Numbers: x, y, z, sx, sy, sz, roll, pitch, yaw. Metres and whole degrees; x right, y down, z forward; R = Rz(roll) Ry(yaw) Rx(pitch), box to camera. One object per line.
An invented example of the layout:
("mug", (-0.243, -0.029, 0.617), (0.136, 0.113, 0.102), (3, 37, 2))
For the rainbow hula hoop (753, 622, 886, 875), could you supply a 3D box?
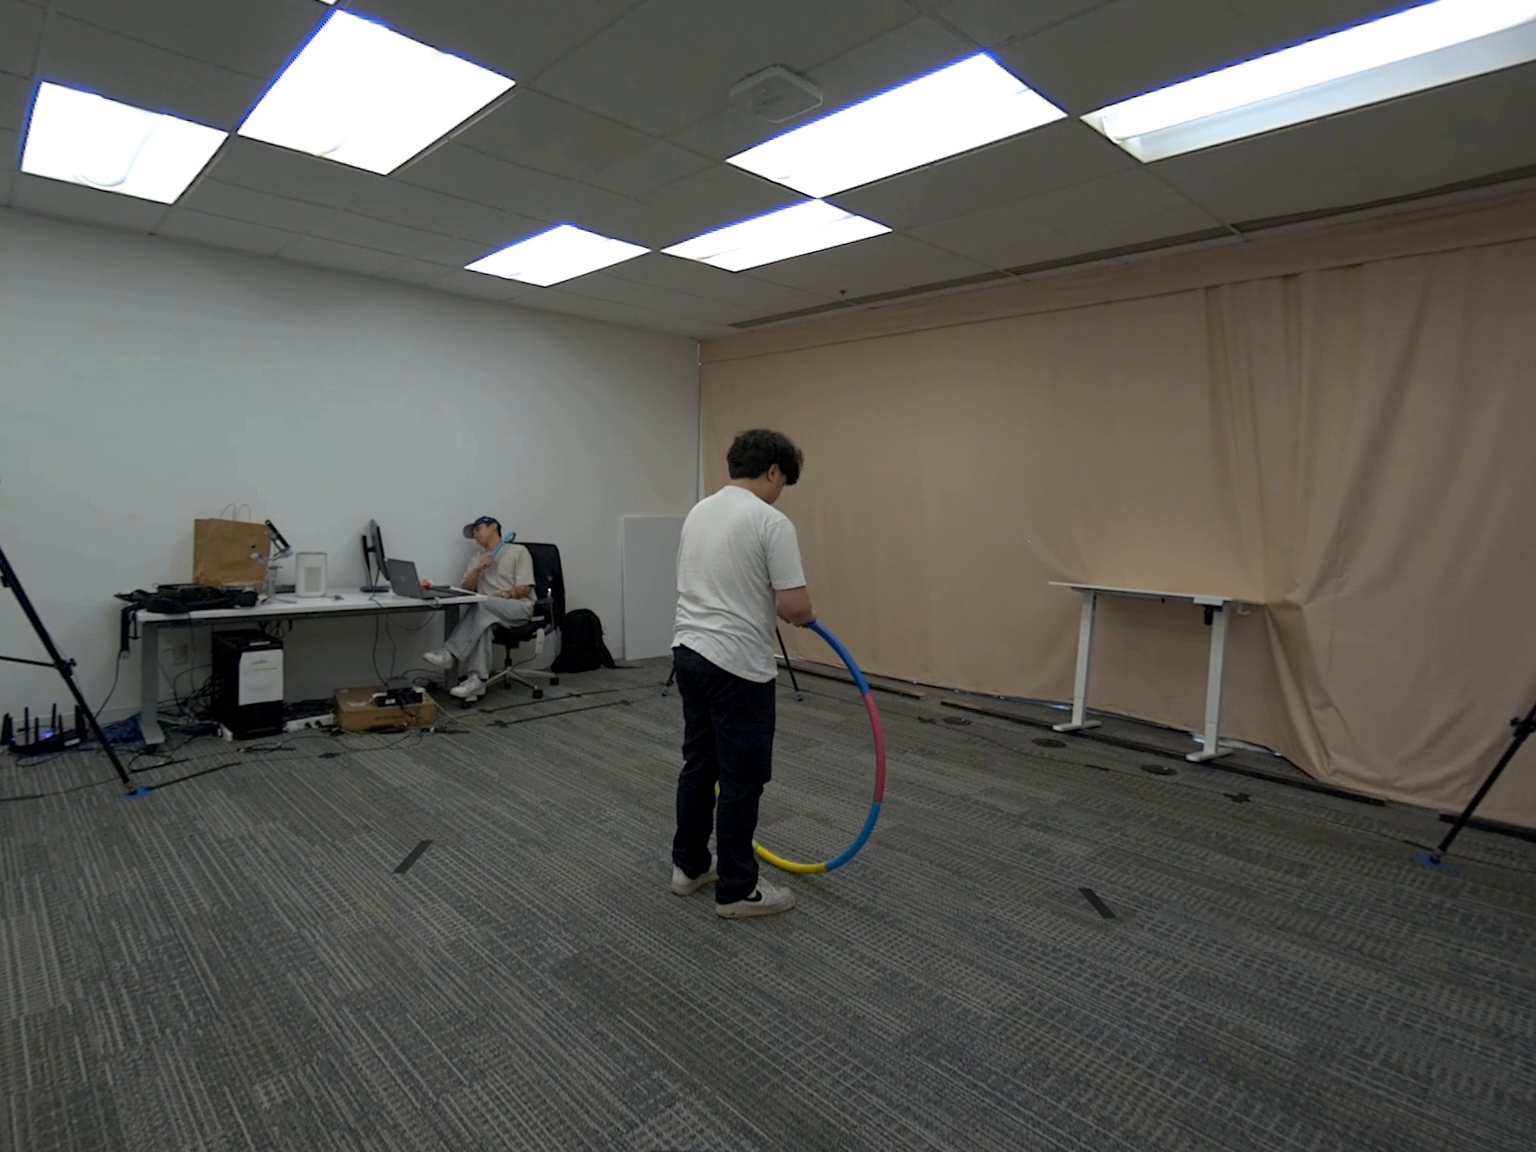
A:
("rainbow hula hoop", (0.042, 0.613, 3.168), (0.050, 0.982, 1.011), (-3, 6, -43))
